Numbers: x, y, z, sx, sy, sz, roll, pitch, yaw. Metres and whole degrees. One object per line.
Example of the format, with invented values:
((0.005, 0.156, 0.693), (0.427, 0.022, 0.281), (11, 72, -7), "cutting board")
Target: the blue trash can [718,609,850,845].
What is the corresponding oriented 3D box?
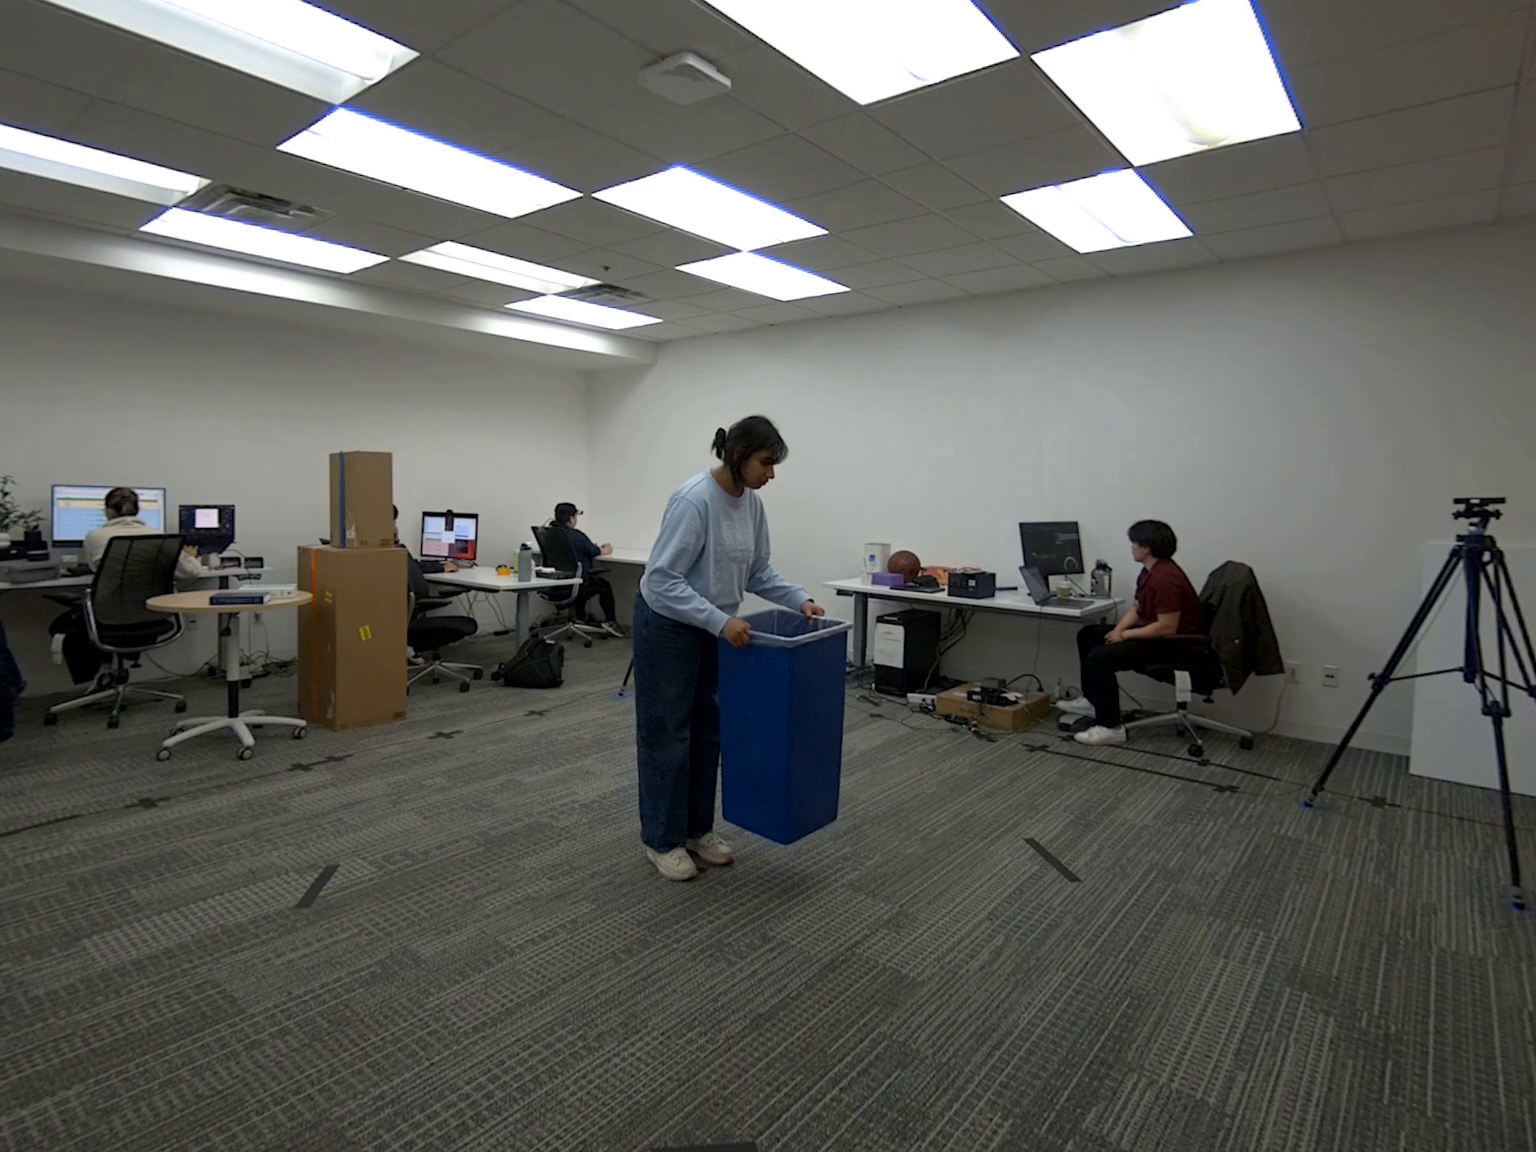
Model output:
((0.042, 0.520, 2.984), (0.391, 0.709, 0.363), (6, 8, 40), "blue trash can")
